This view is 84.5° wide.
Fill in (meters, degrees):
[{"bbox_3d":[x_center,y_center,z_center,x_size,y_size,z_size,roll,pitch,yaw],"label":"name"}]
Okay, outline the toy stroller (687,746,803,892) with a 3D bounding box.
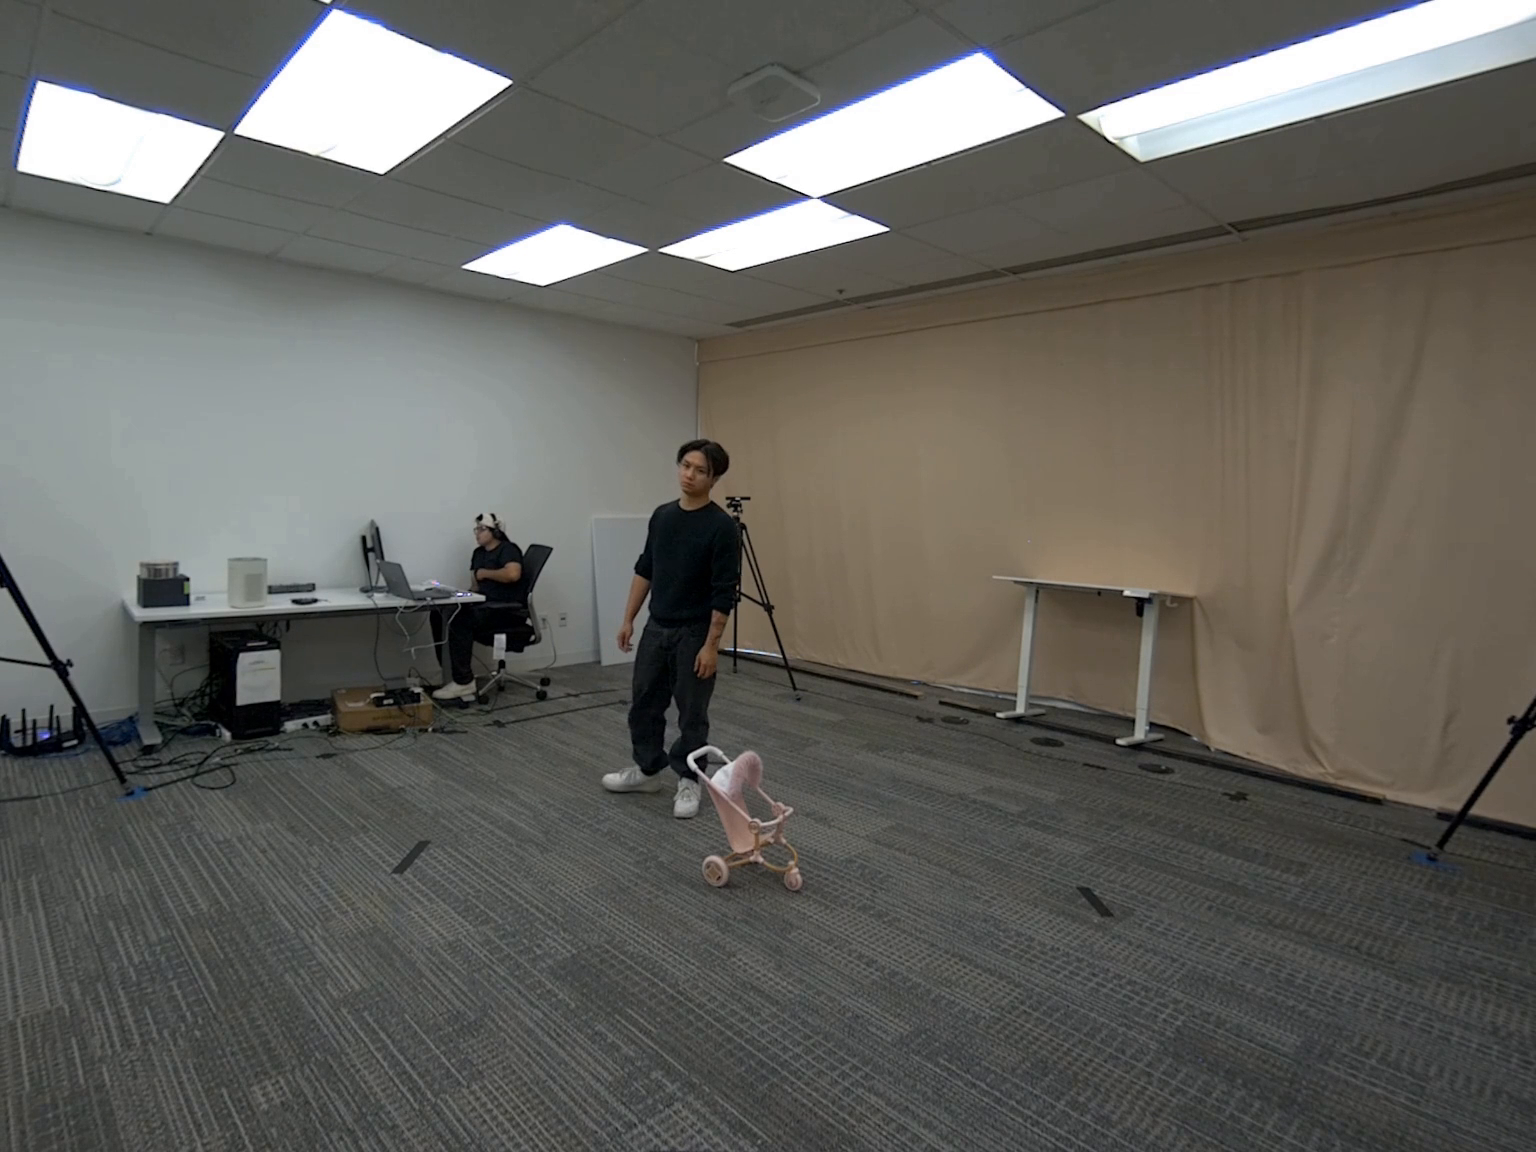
[{"bbox_3d":[-0.076,0.884,3.079,0.347,0.537,0.276,-15,-6,33],"label":"toy stroller"}]
